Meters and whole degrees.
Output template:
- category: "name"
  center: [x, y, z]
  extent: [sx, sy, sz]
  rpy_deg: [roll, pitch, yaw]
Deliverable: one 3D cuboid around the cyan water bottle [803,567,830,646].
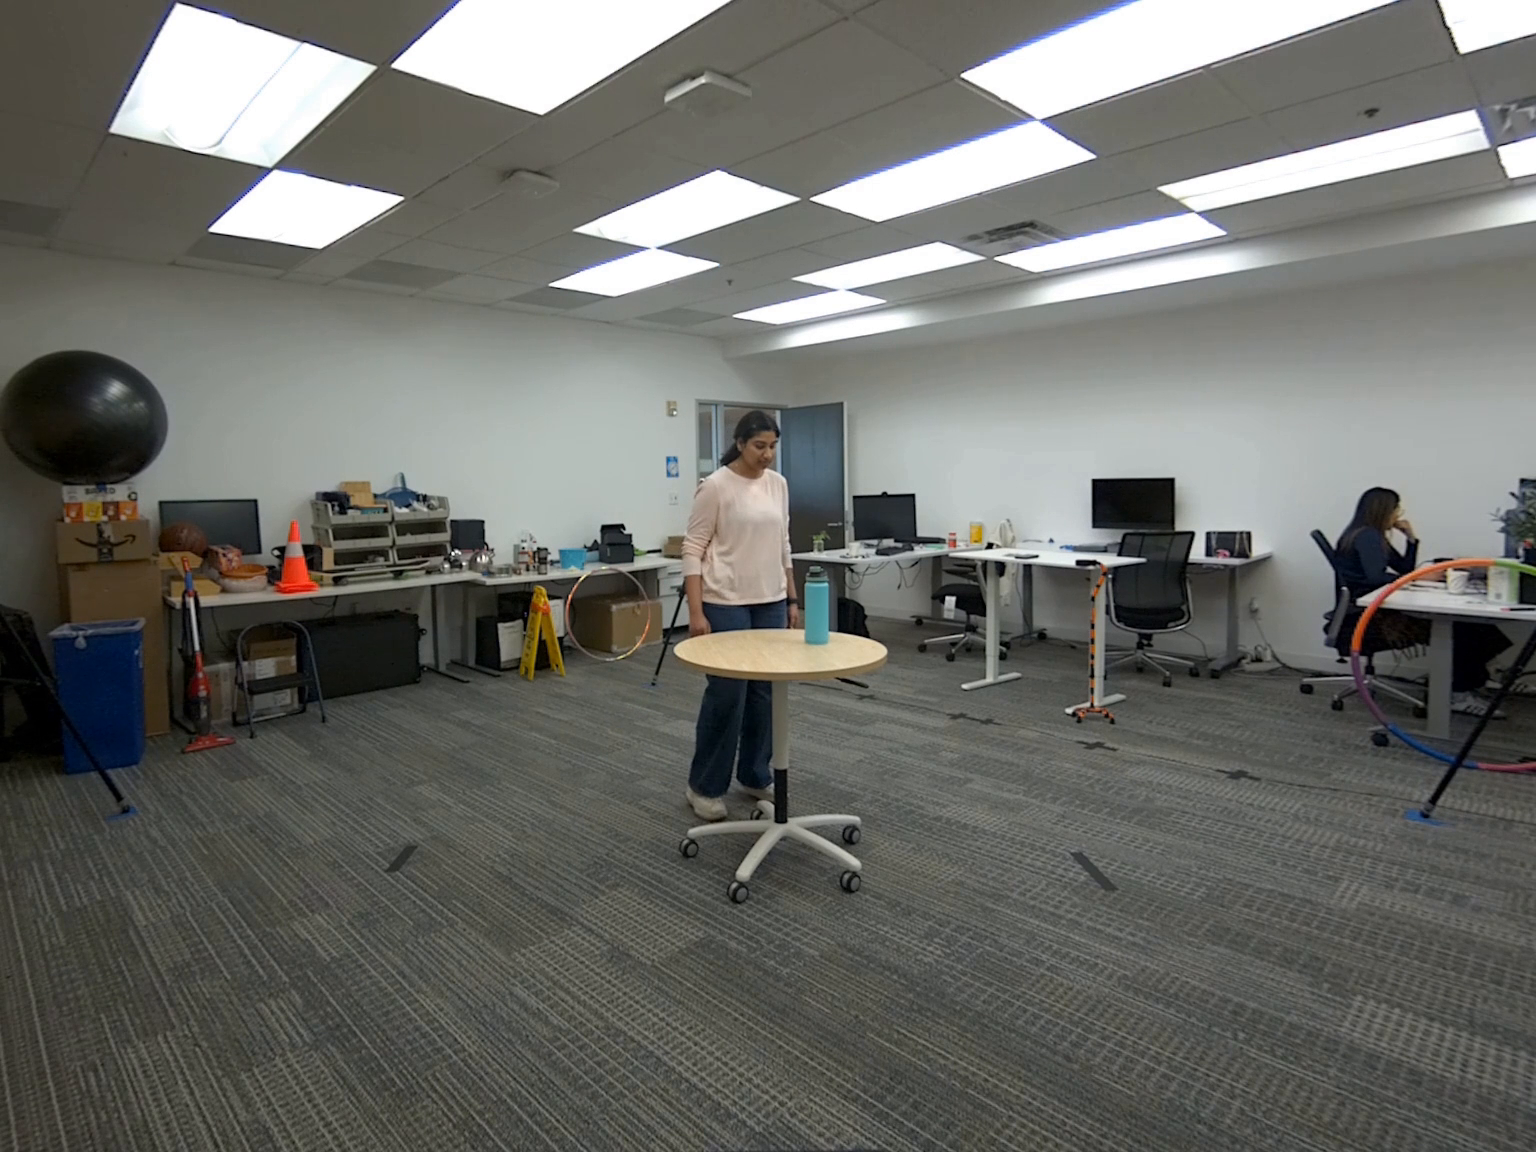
- category: "cyan water bottle"
  center: [0.187, 0.110, 3.185]
  extent: [0.092, 0.283, 0.092]
  rpy_deg: [-2, 2, -2]
